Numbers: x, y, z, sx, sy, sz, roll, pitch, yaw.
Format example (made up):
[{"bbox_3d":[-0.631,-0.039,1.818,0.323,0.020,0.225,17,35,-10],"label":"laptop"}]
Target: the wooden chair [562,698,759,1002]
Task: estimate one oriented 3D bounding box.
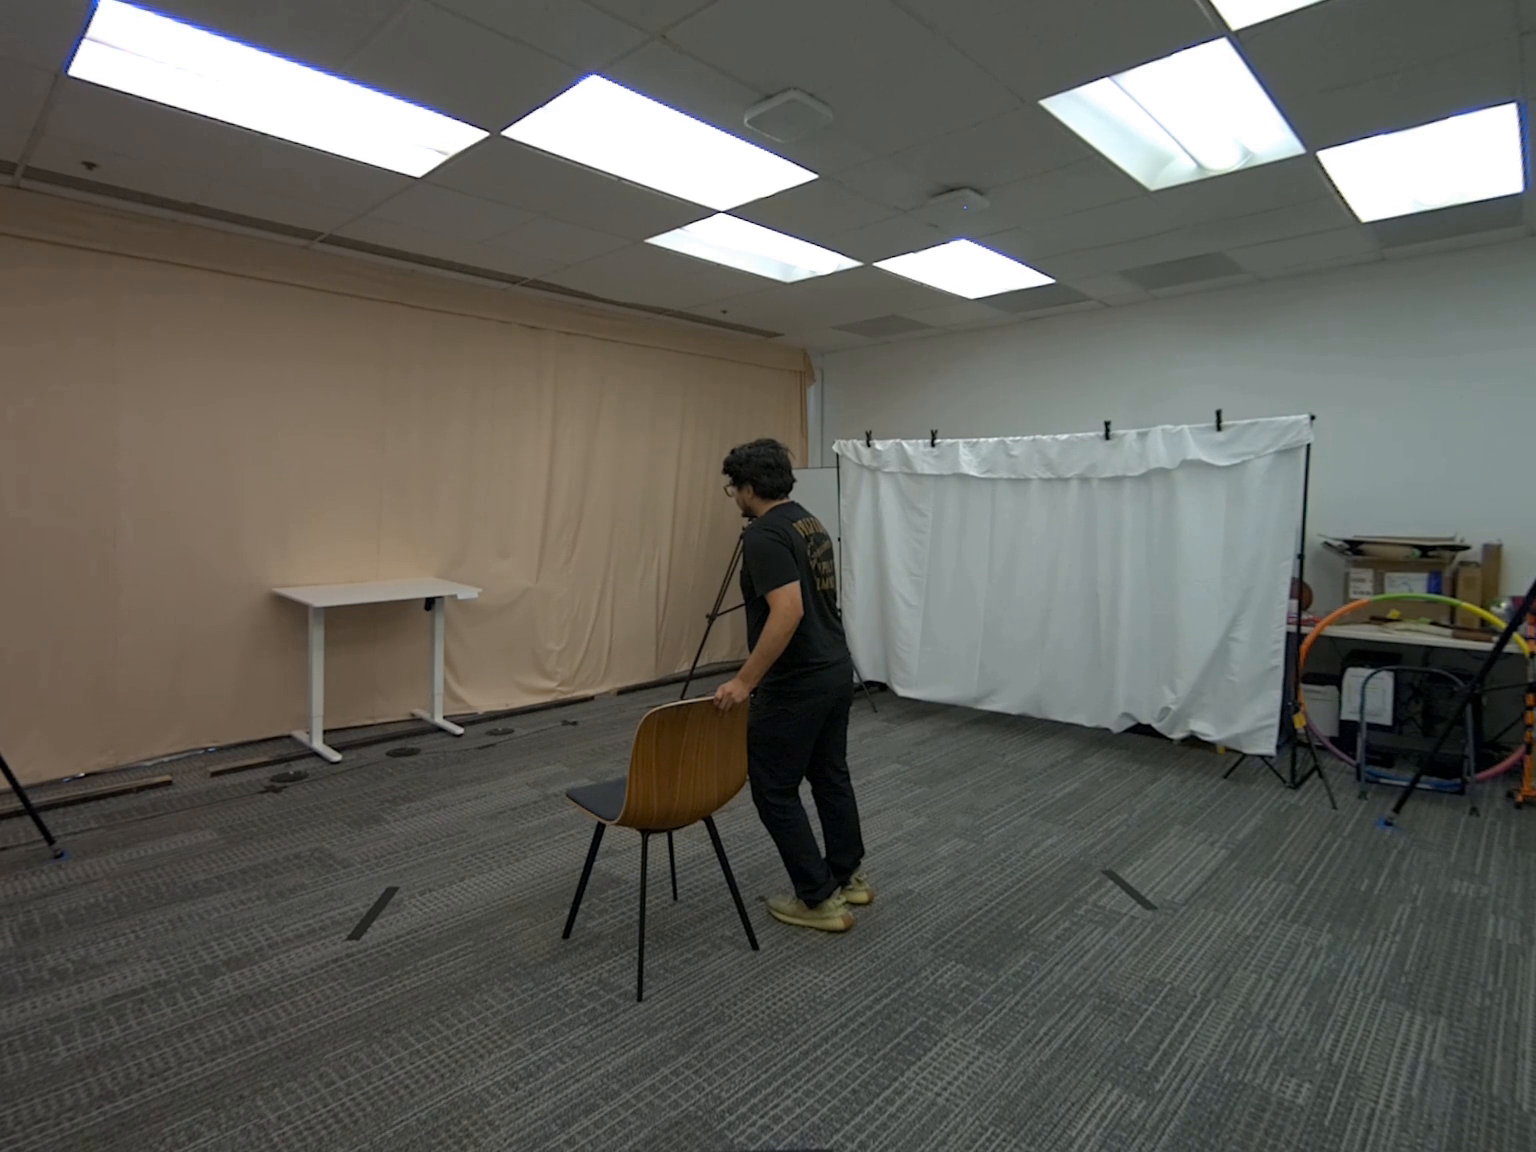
[{"bbox_3d":[-0.355,0.749,2.651,0.463,0.874,0.541,-2,8,-40],"label":"wooden chair"}]
